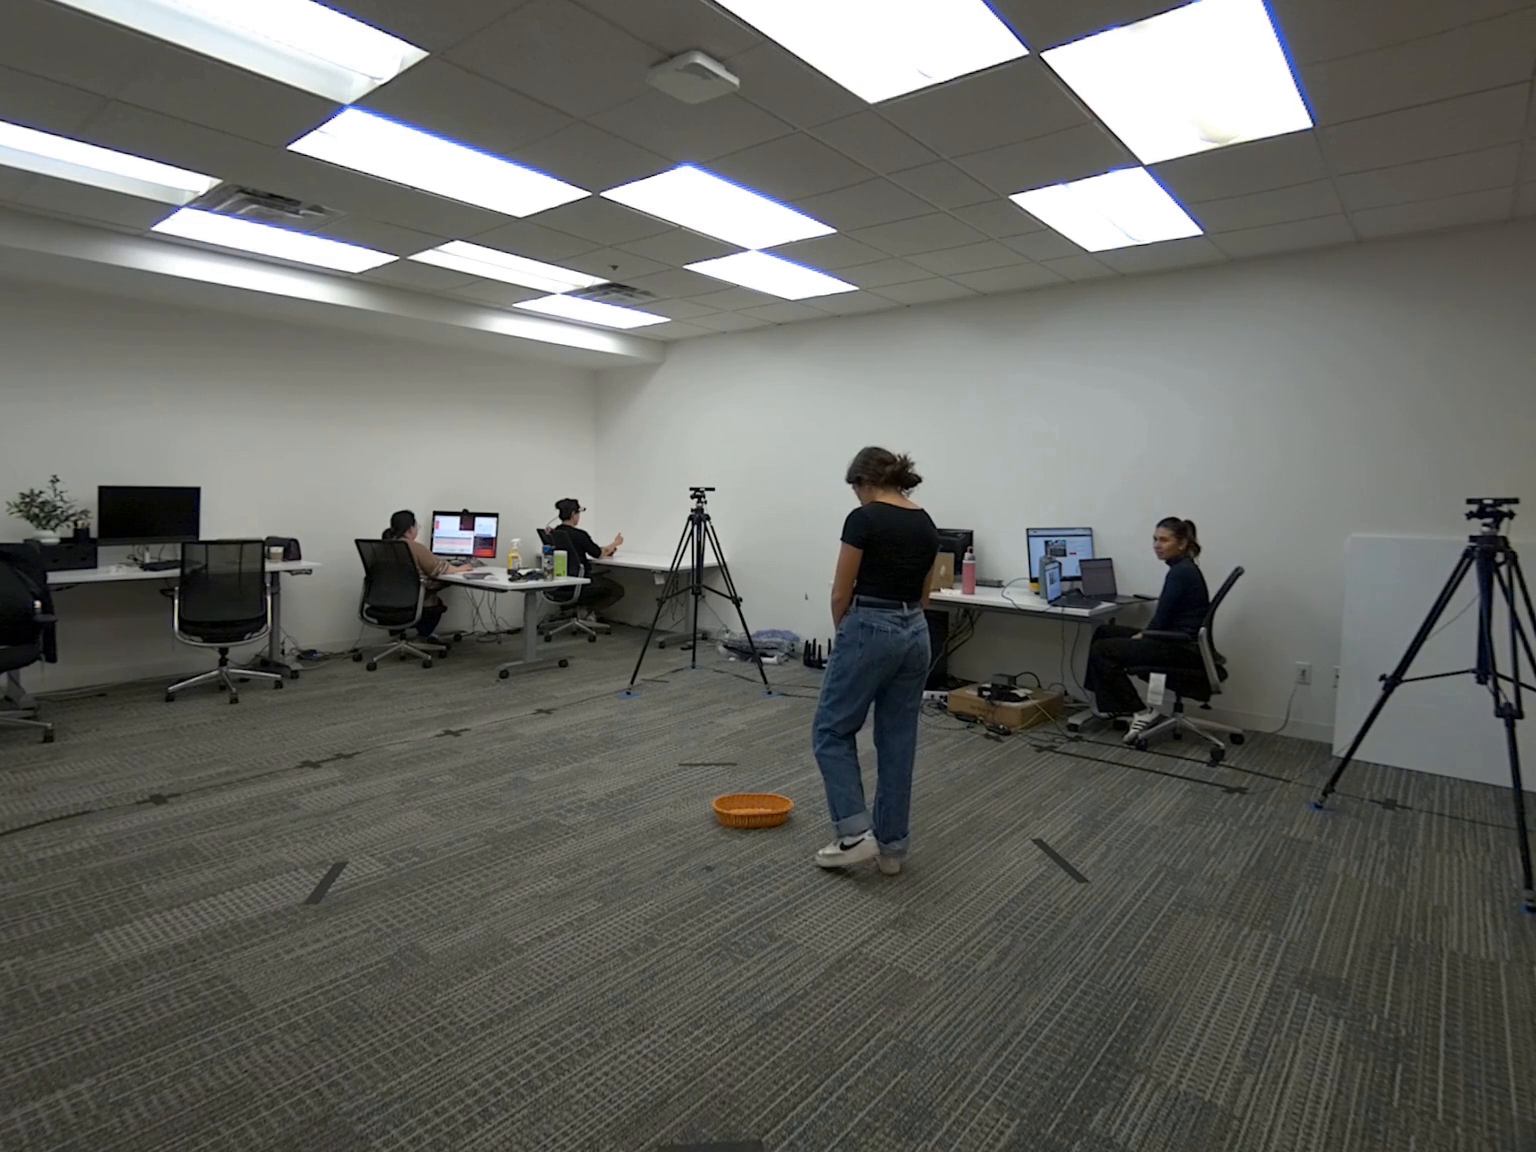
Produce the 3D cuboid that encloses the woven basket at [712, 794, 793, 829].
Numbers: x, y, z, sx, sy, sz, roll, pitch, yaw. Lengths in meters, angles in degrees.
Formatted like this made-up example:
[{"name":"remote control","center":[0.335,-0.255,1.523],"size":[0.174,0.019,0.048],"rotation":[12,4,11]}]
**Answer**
[{"name":"woven basket","center":[-0.077,0.986,3.582],"size":[0.347,0.073,0.255],"rotation":[0,4,-10]}]
